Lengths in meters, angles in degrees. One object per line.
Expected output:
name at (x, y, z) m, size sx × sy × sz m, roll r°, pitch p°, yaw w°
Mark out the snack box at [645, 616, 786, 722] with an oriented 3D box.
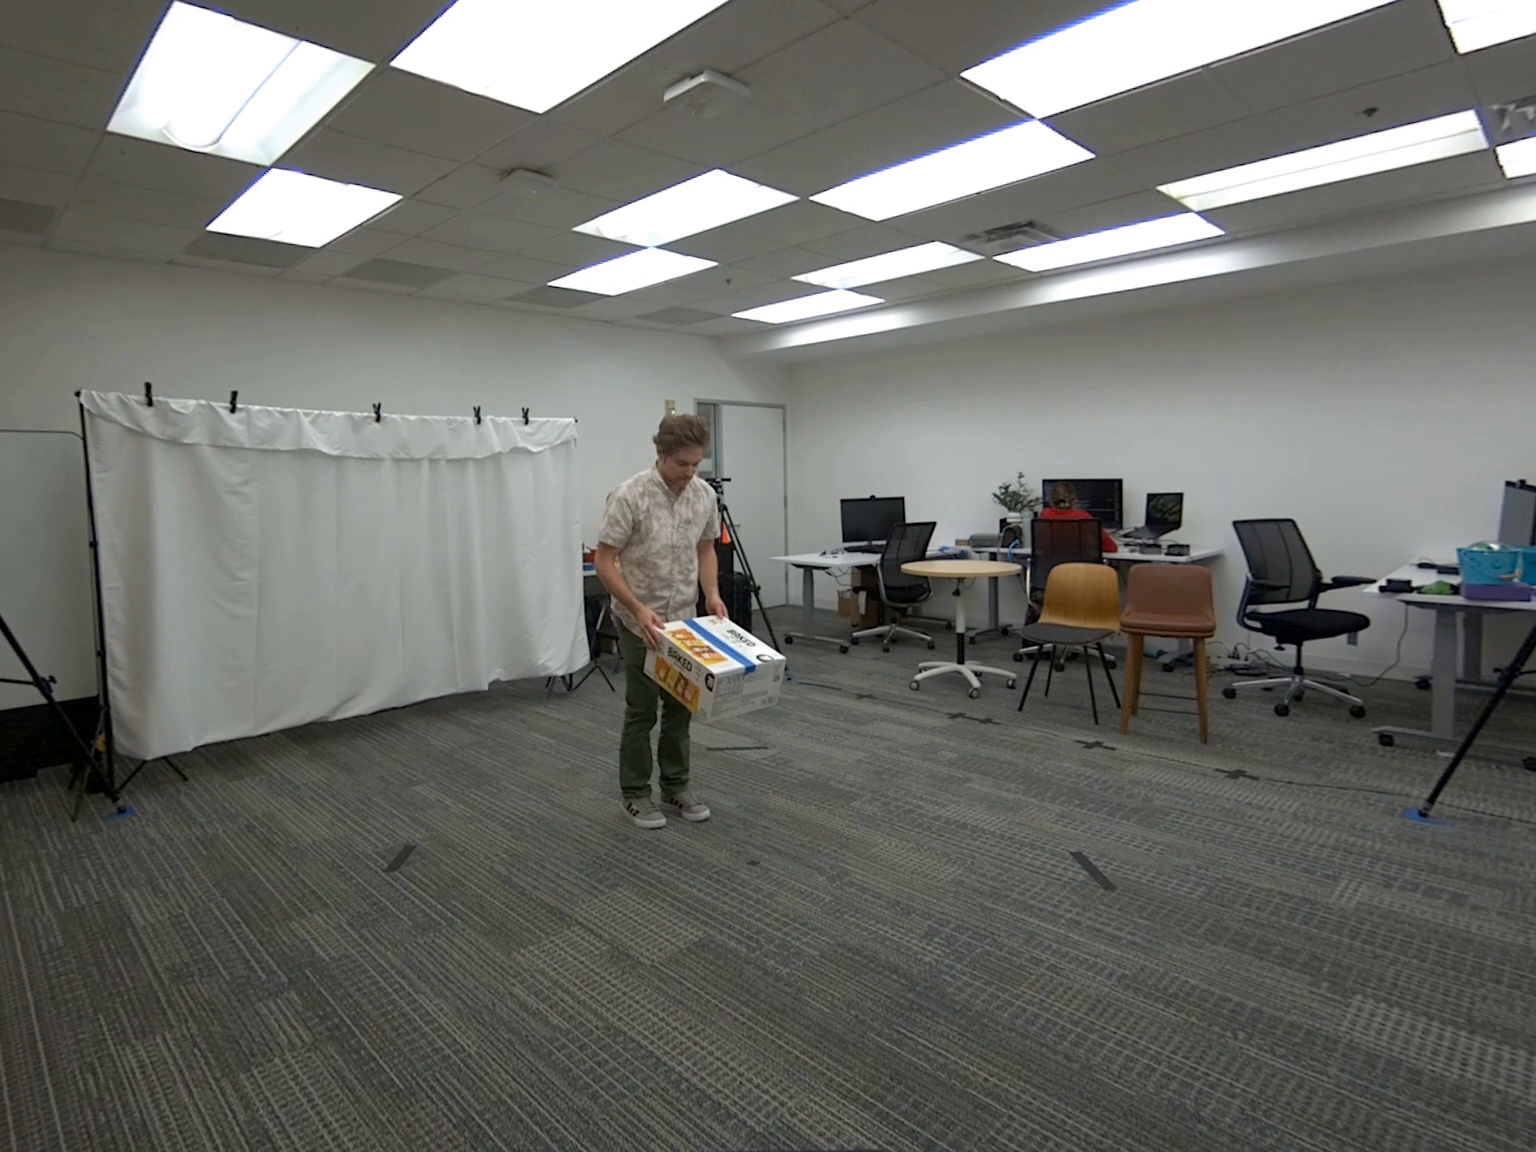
snack box at (-0.201, 0.342, 3.230) m, size 0.332 × 0.203 × 0.421 m, roll -8°, pitch 26°, yaw -40°
